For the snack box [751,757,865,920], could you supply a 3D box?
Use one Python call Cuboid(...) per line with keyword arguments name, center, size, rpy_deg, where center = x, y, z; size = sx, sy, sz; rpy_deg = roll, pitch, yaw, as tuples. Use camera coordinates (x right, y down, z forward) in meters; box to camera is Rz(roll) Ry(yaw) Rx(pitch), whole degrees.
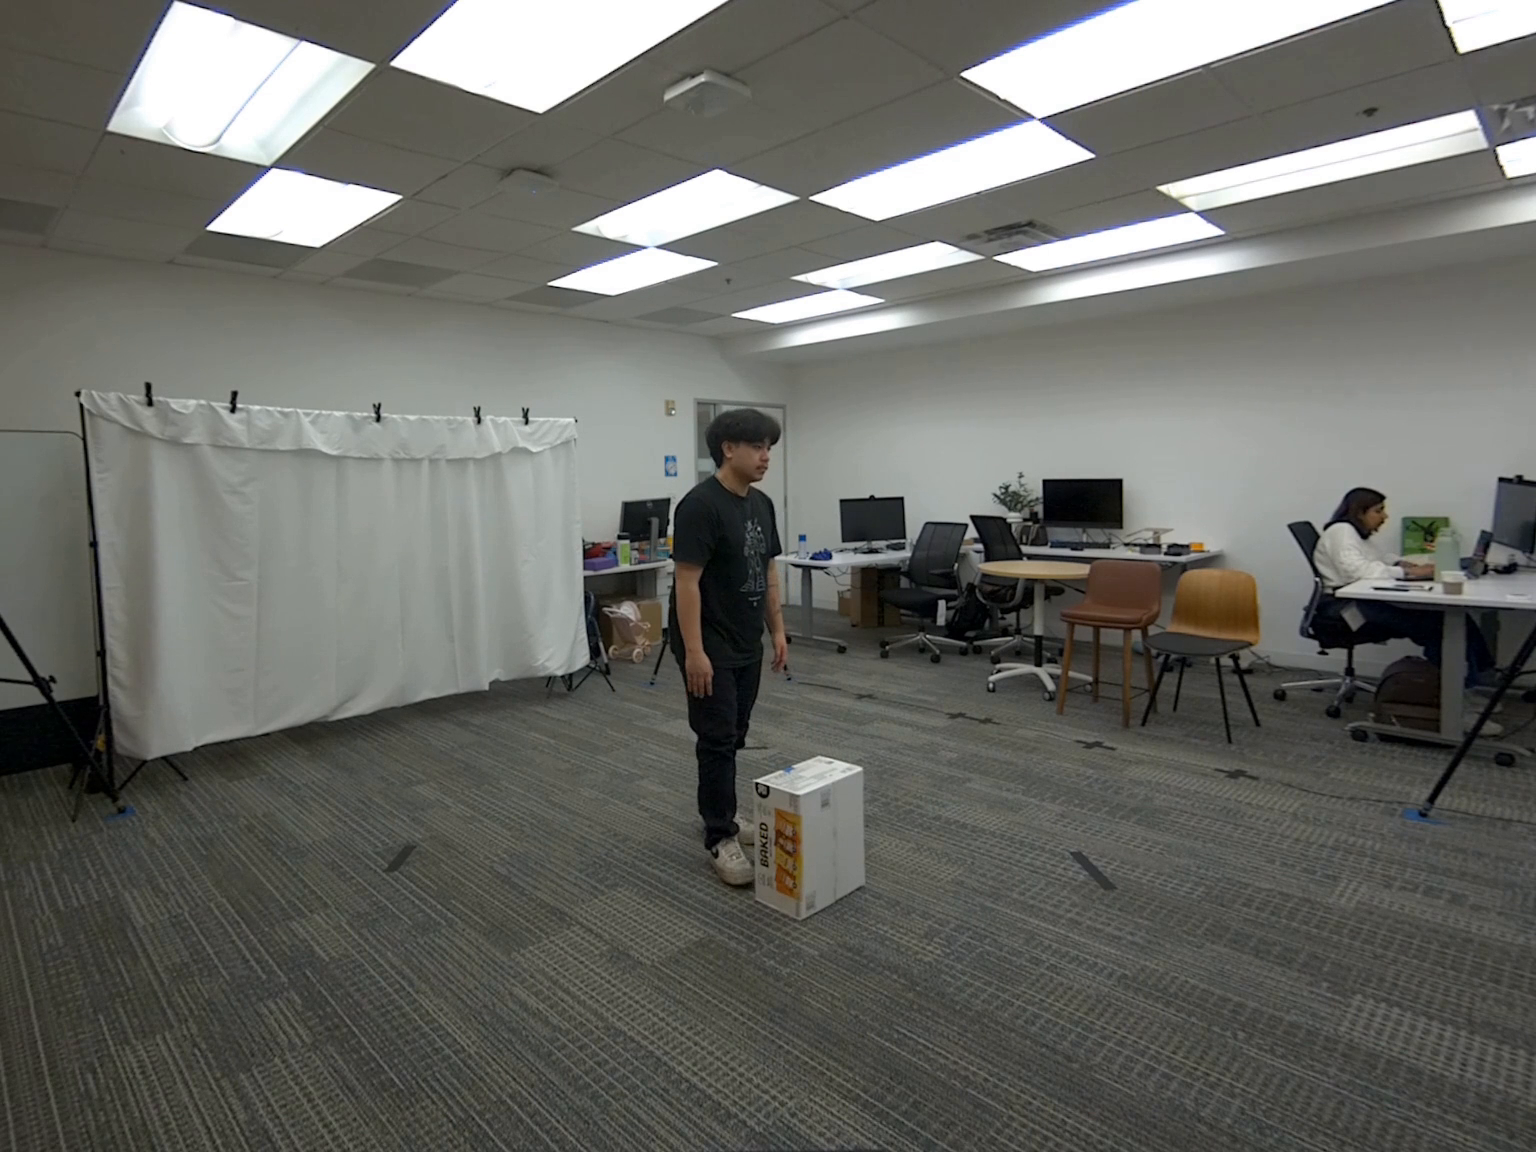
Cuboid(name="snack box", center=(0.135, 0.862, 2.866), size=(0.212, 0.404, 0.331), rpy_deg=(3, 6, 44))
